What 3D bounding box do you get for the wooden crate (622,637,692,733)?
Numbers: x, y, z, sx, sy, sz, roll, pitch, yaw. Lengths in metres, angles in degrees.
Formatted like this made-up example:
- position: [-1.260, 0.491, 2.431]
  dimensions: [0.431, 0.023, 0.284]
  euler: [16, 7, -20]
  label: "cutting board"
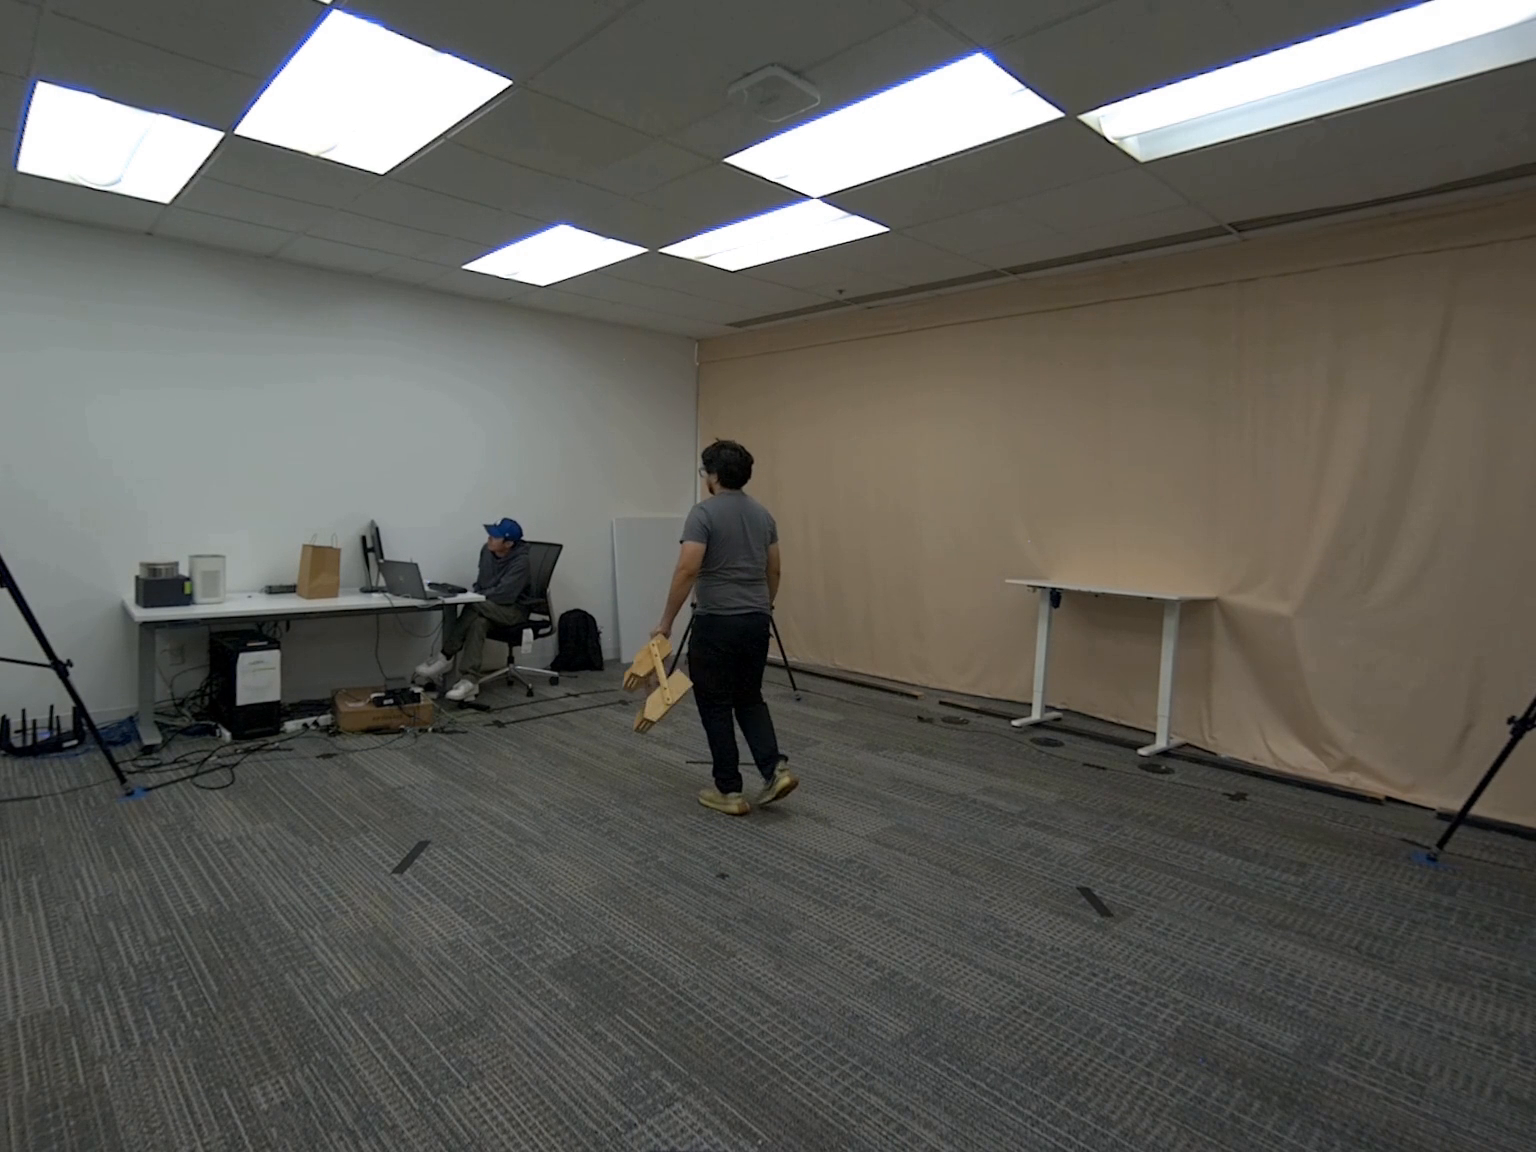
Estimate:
- position: [-0.526, 0.474, 3.666]
  dimensions: [0.301, 0.275, 0.323]
  euler: [-42, -5, -27]
  label: "wooden crate"
